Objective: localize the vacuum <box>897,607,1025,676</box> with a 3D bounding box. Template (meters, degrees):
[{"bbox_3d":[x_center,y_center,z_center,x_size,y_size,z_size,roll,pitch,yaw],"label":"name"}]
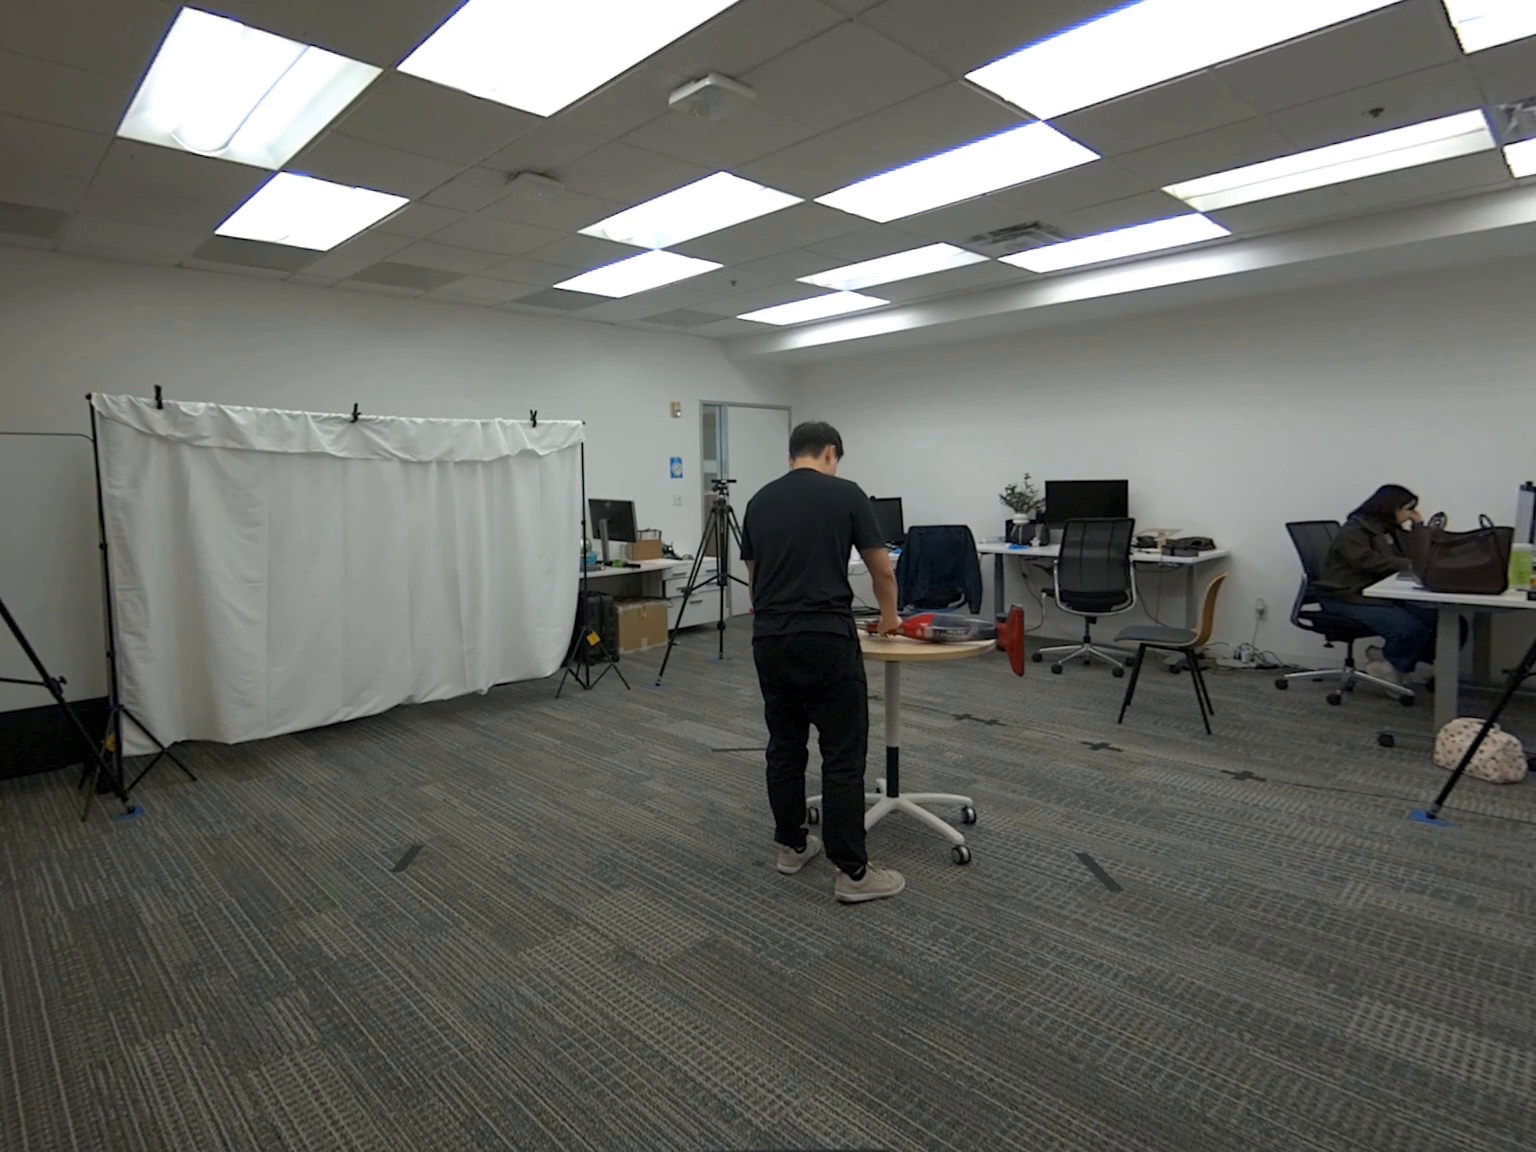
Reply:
[{"bbox_3d":[0.400,0.195,3.249,1.076,0.248,0.143,3,21,28],"label":"vacuum"}]
